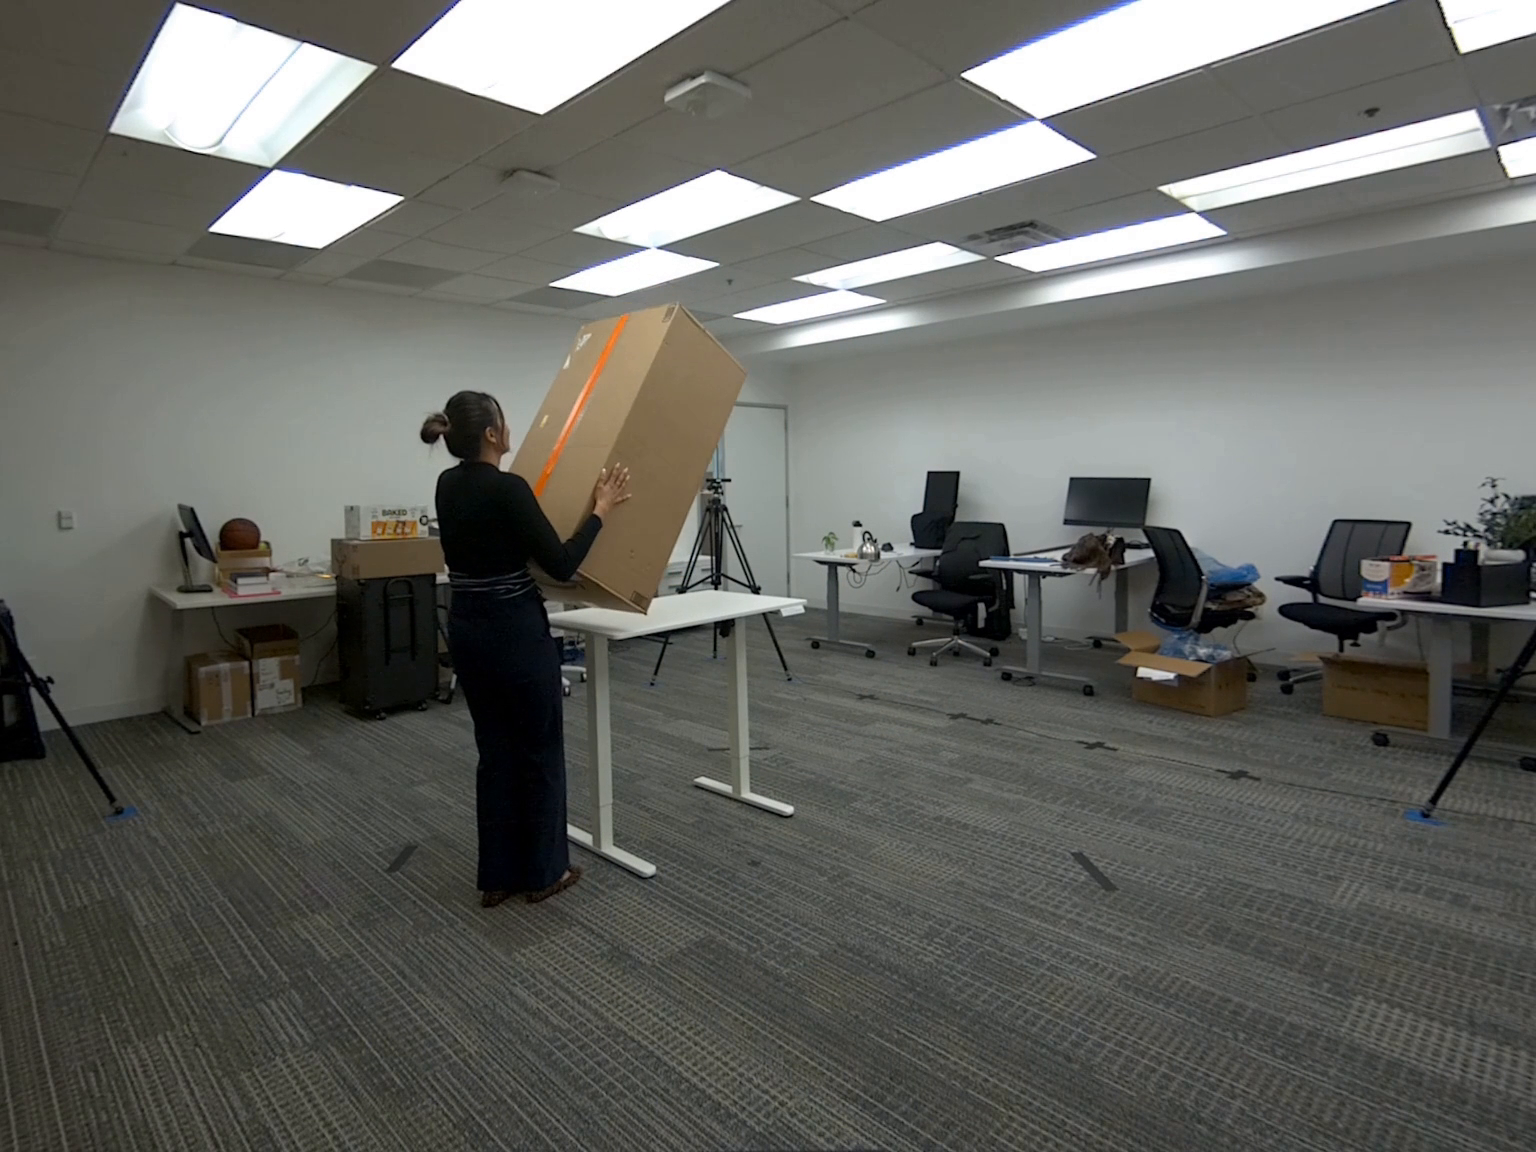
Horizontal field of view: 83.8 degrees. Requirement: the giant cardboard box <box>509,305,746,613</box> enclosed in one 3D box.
[{"bbox_3d":[-0.572,-0.428,3.173,0.595,1.035,0.410,2,-25,43],"label":"giant cardboard box"}]
